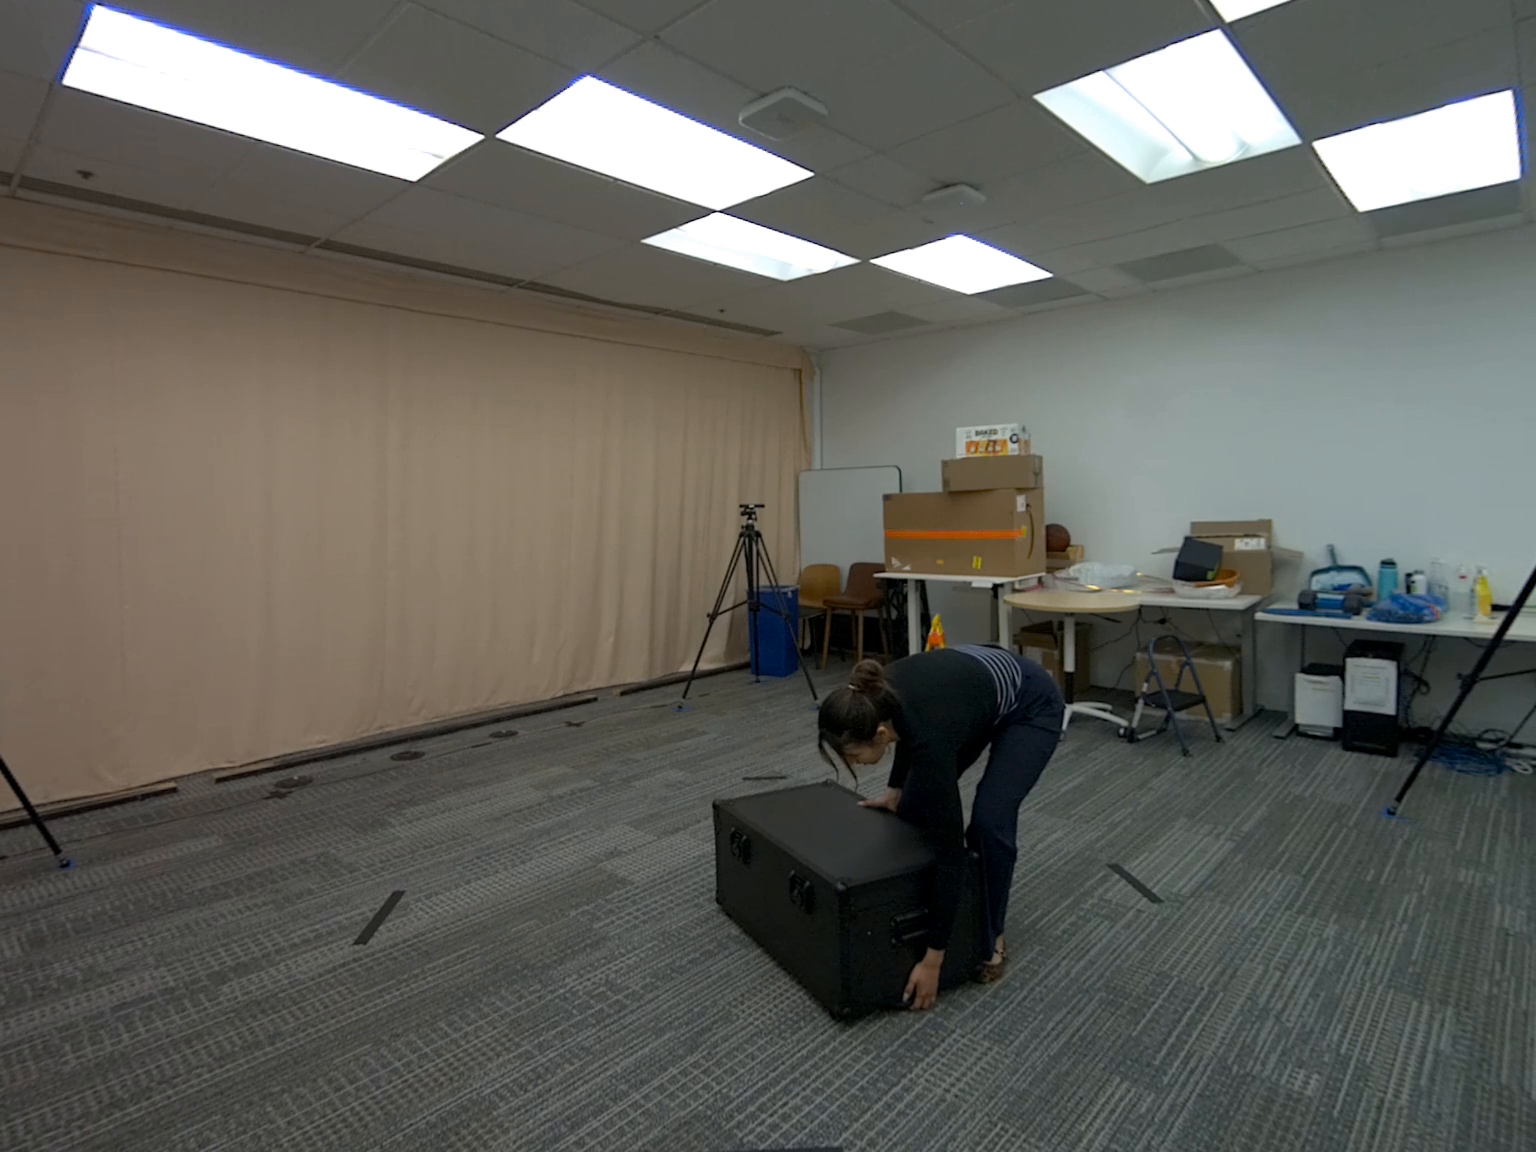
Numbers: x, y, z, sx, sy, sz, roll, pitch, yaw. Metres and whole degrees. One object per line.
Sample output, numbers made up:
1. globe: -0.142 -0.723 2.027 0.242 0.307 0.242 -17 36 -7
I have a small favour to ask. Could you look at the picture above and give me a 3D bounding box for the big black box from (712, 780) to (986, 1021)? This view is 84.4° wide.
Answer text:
1. big black box: 0.224 0.974 2.632 0.508 0.395 0.885 -3 4 -27
